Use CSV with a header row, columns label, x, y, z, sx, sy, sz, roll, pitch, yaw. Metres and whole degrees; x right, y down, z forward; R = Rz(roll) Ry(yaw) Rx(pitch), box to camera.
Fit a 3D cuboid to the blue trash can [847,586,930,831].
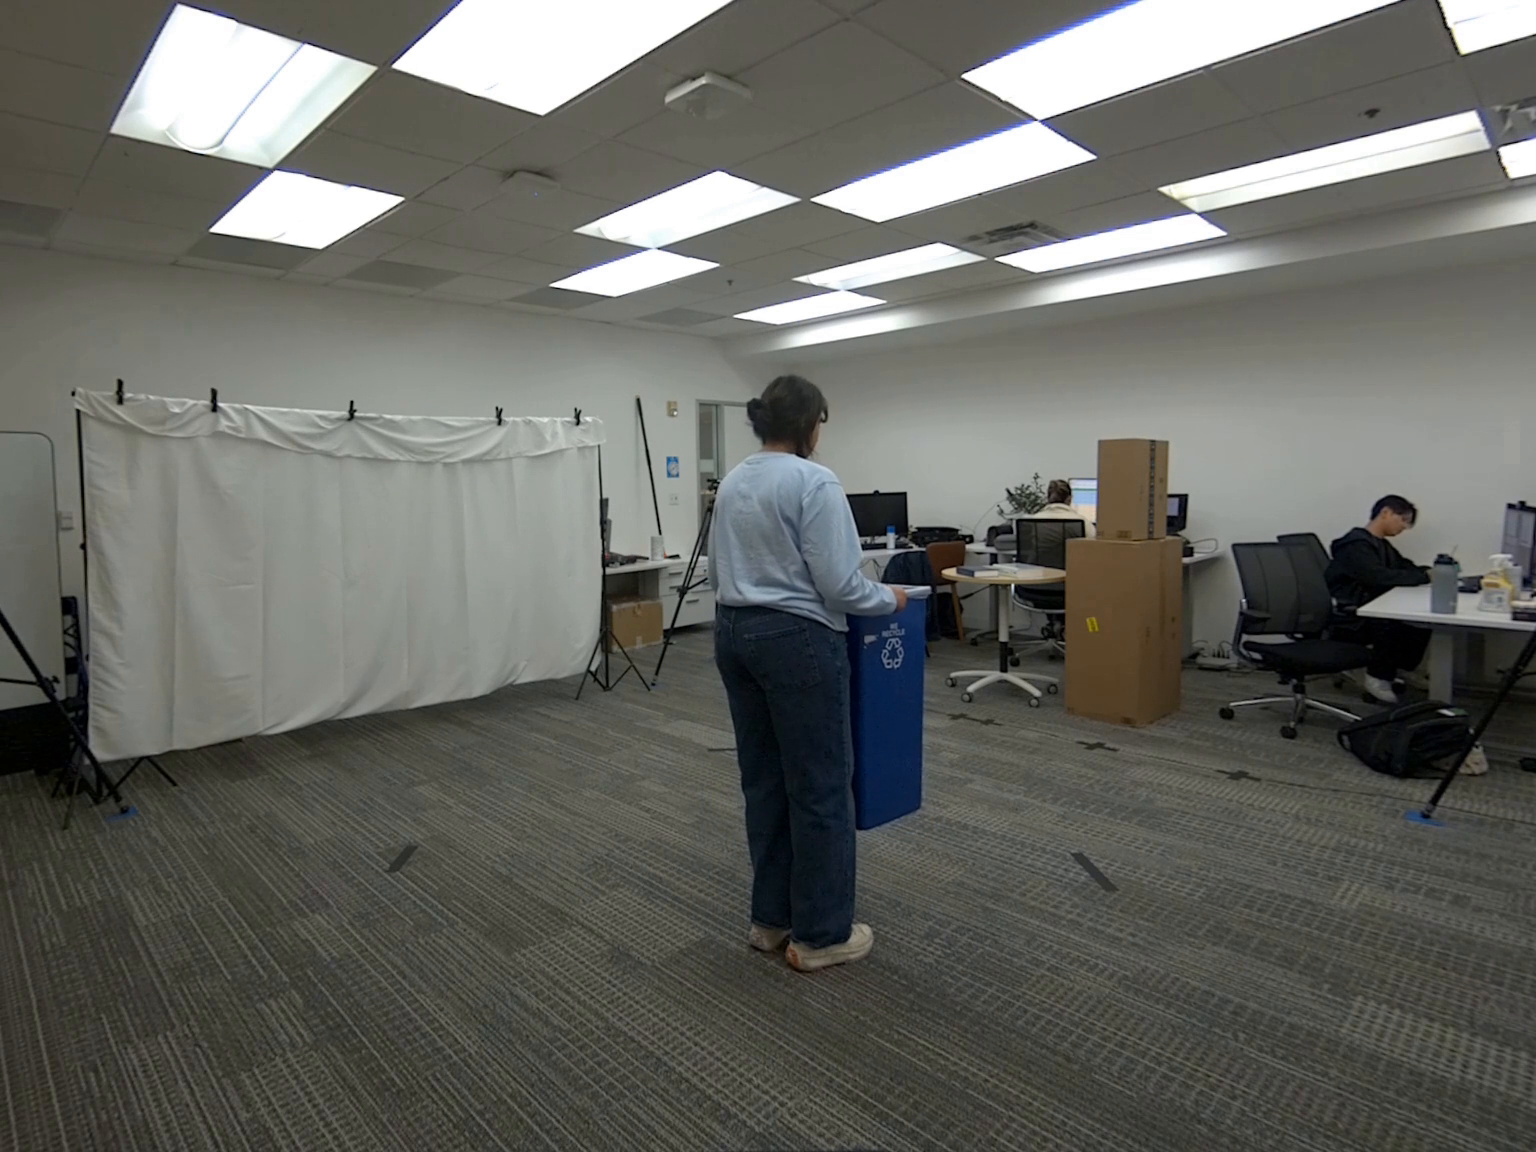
label,x,y,z,sx,sy,sz,roll,pitch,yaw
blue trash can,0.287,0.398,2.759,0.364,0.713,0.389,-3,2,-43
